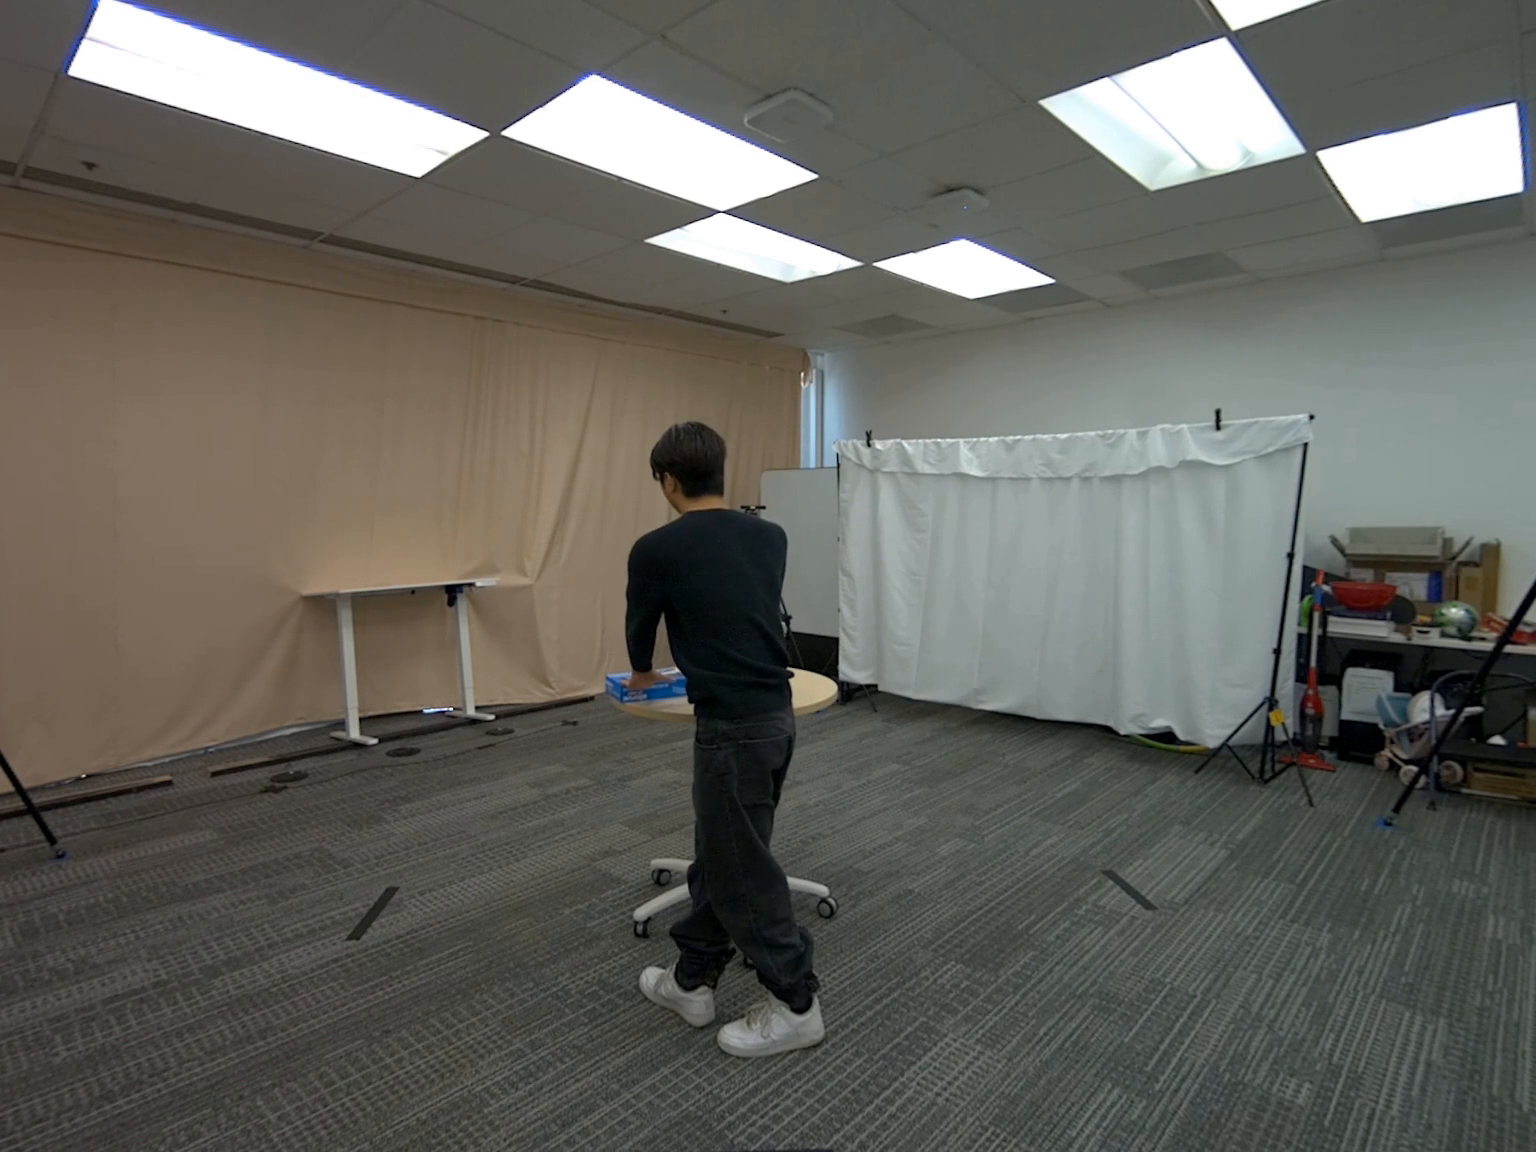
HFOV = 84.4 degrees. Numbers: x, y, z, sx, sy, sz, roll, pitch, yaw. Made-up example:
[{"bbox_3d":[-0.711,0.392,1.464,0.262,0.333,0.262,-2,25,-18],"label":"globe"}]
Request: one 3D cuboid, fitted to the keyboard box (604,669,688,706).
[{"bbox_3d":[-0.303,0.353,2.780,0.426,0.059,0.181,-2,5,-26],"label":"keyboard box"}]
